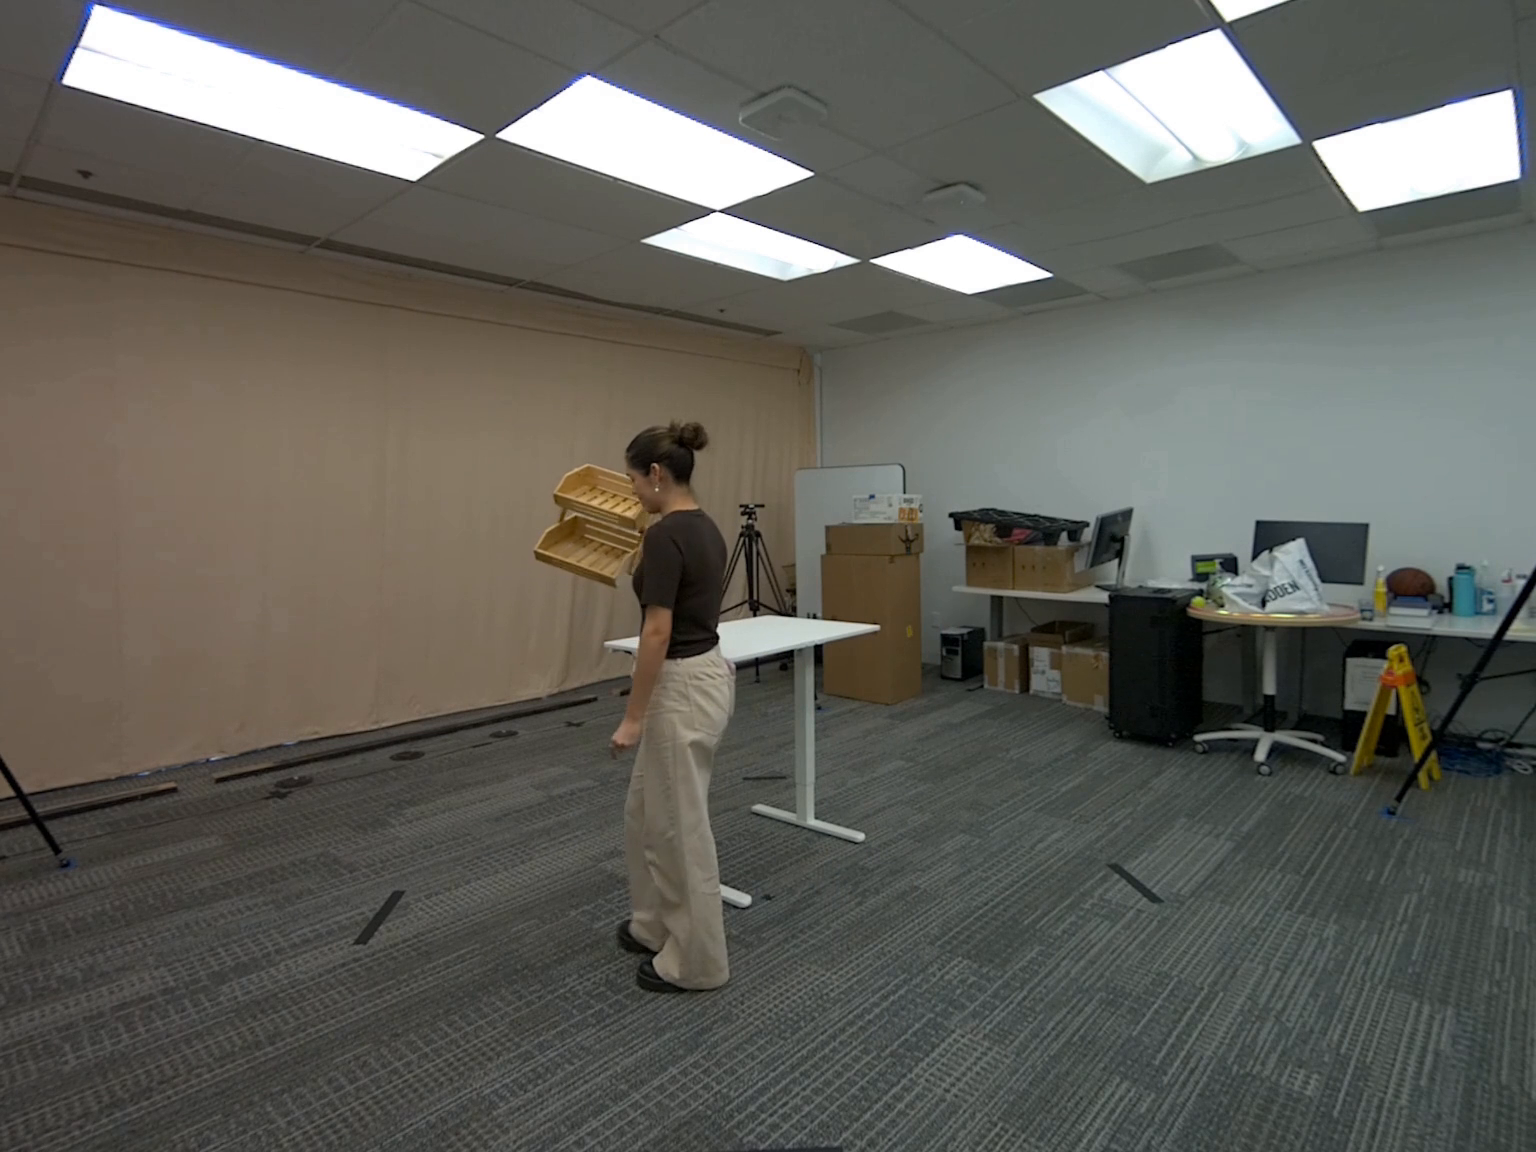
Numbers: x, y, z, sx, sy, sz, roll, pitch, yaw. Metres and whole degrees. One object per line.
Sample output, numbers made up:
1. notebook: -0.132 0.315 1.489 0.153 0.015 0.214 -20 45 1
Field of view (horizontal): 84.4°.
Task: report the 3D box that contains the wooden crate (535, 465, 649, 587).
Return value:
1. wooden crate: -0.550 -0.169 2.752 0.330 0.271 0.299 18 27 14
